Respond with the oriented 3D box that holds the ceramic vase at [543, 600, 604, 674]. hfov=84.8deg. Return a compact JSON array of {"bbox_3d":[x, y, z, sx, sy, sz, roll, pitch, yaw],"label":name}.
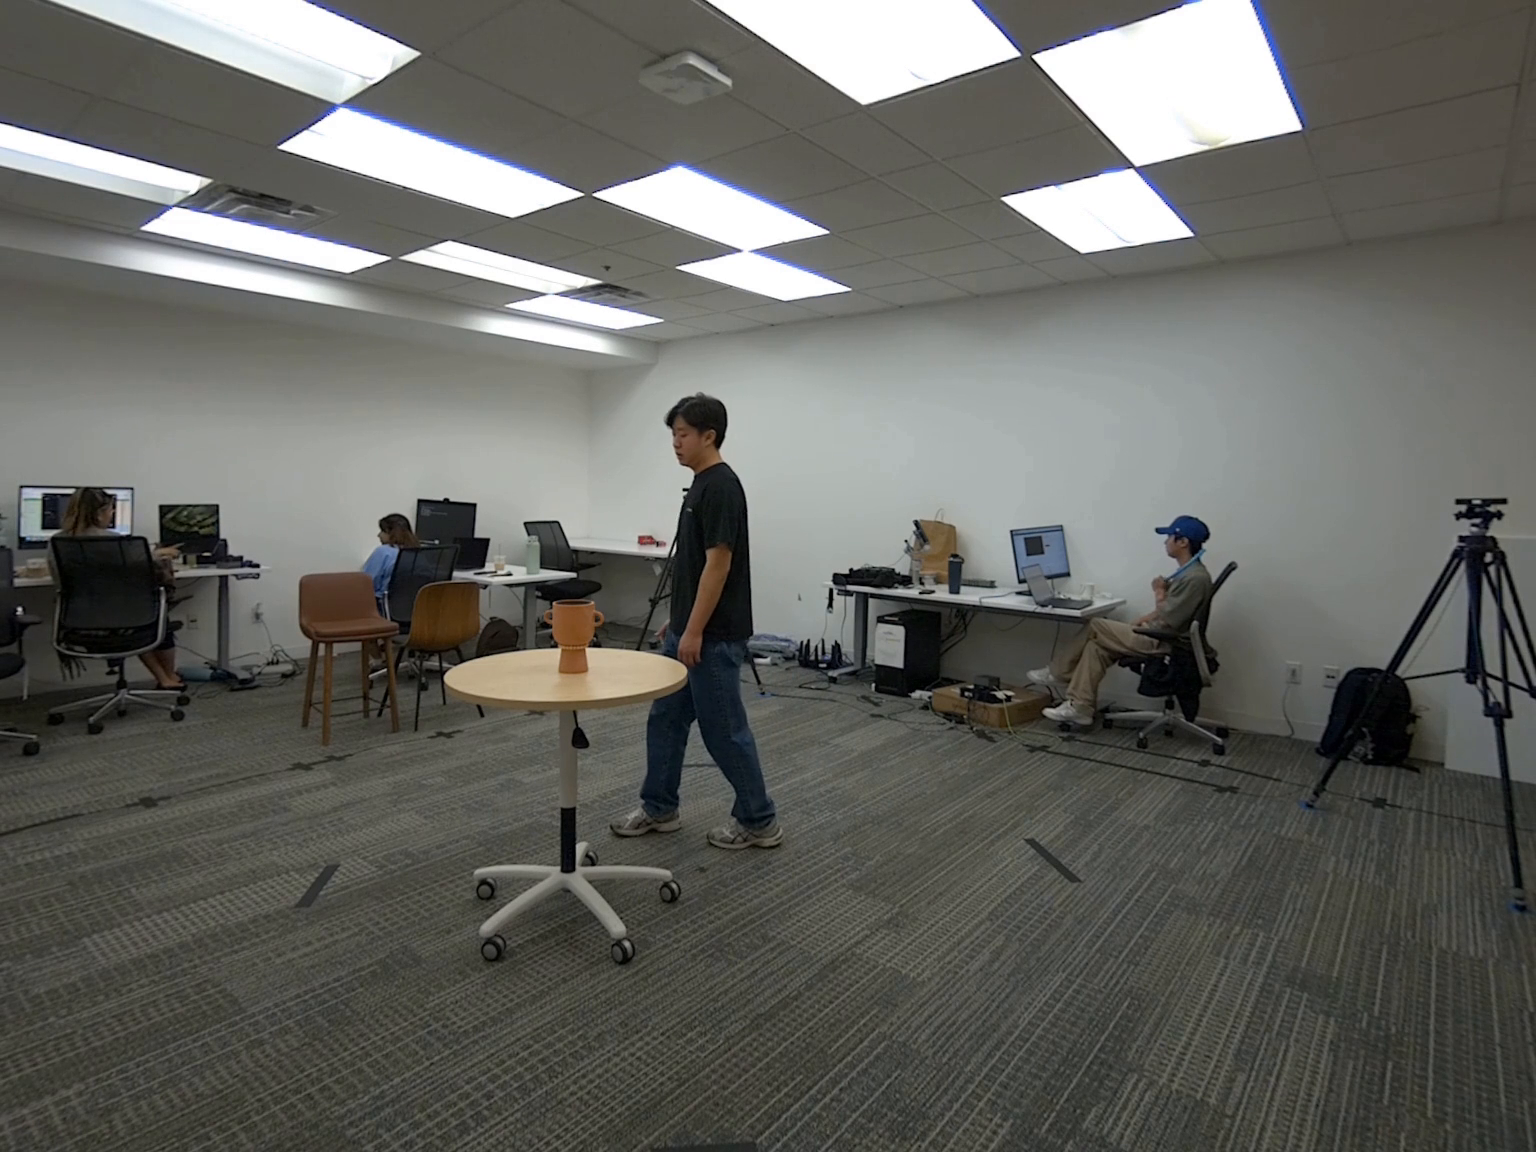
[{"bbox_3d":[-0.640,0.194,2.735,0.130,0.219,0.164,-4,6,-44],"label":"ceramic vase"}]
